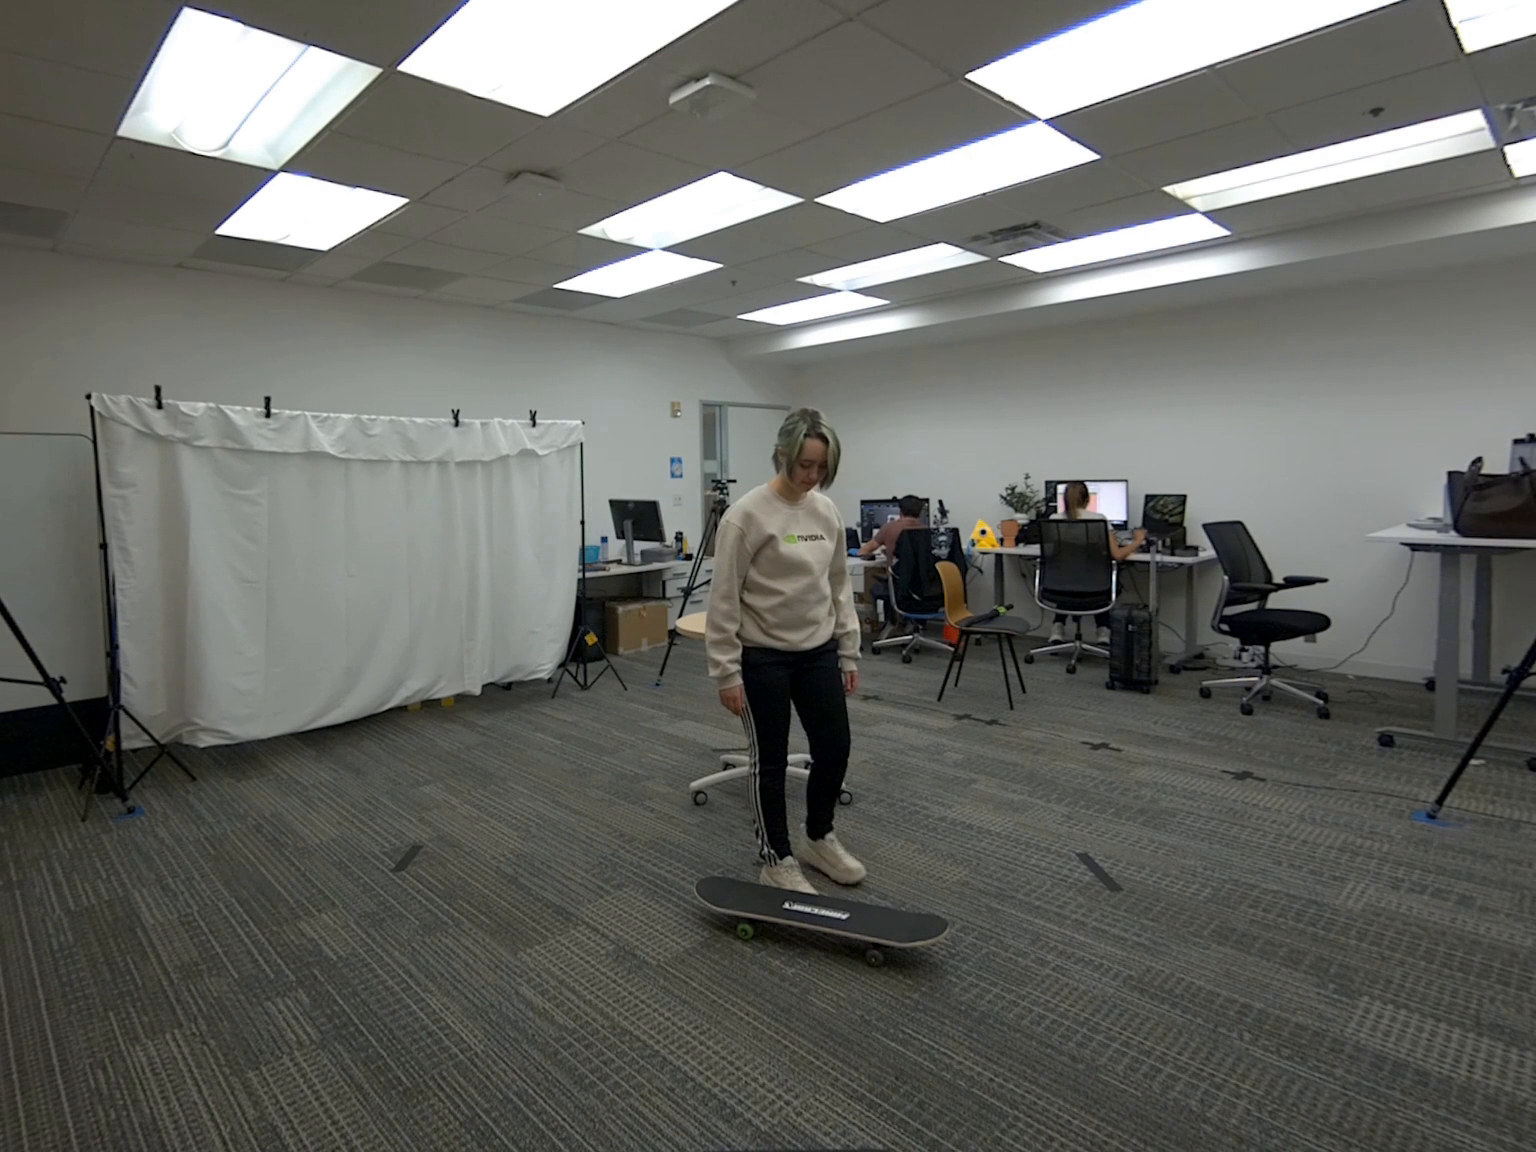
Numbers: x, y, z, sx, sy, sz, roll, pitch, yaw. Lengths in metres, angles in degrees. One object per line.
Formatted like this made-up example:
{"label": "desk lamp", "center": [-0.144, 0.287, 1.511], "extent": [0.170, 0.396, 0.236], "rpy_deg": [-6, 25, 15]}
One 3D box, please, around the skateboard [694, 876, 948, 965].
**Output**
{"label": "skateboard", "center": [0.150, 1.042, 2.592], "extent": [0.802, 0.110, 0.190], "rpy_deg": [2, 6, 23]}
